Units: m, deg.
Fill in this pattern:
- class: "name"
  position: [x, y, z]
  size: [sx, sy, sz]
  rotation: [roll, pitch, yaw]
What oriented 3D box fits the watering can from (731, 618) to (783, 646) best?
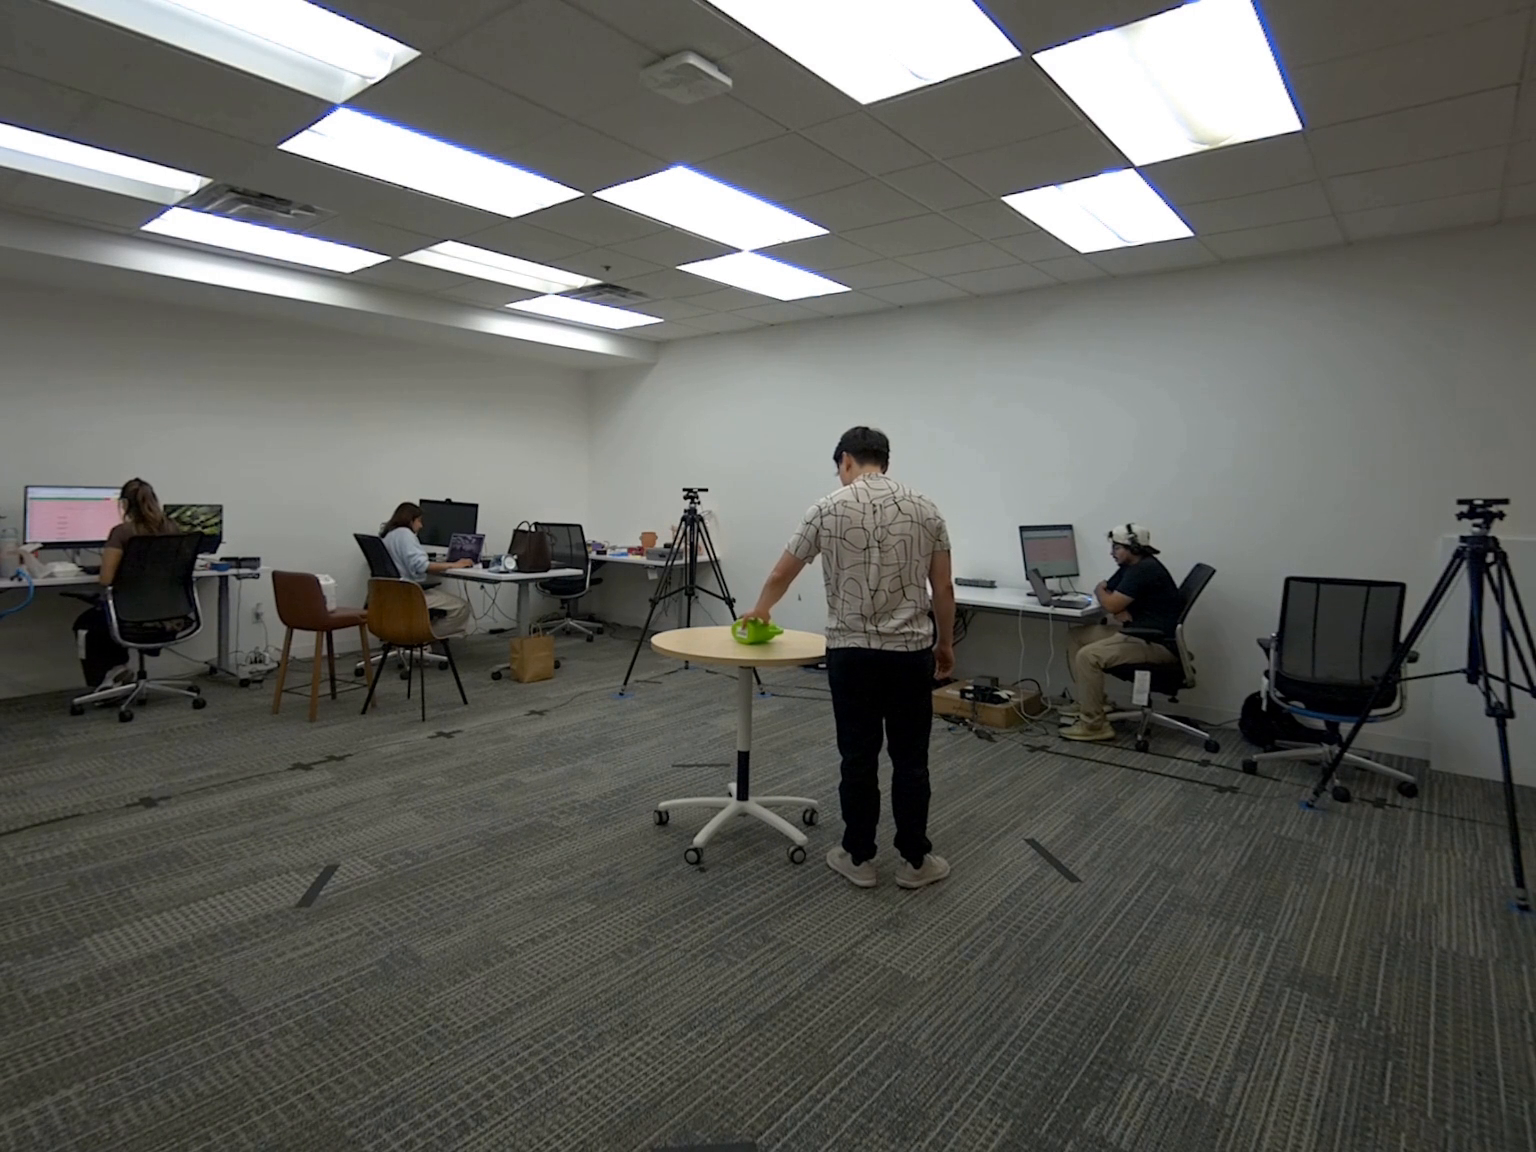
- class: "watering can"
  position: [-0.084, 0.219, 3.435]
  size: [0.171, 0.098, 0.286]
  rotation: [-1, -5, -44]
